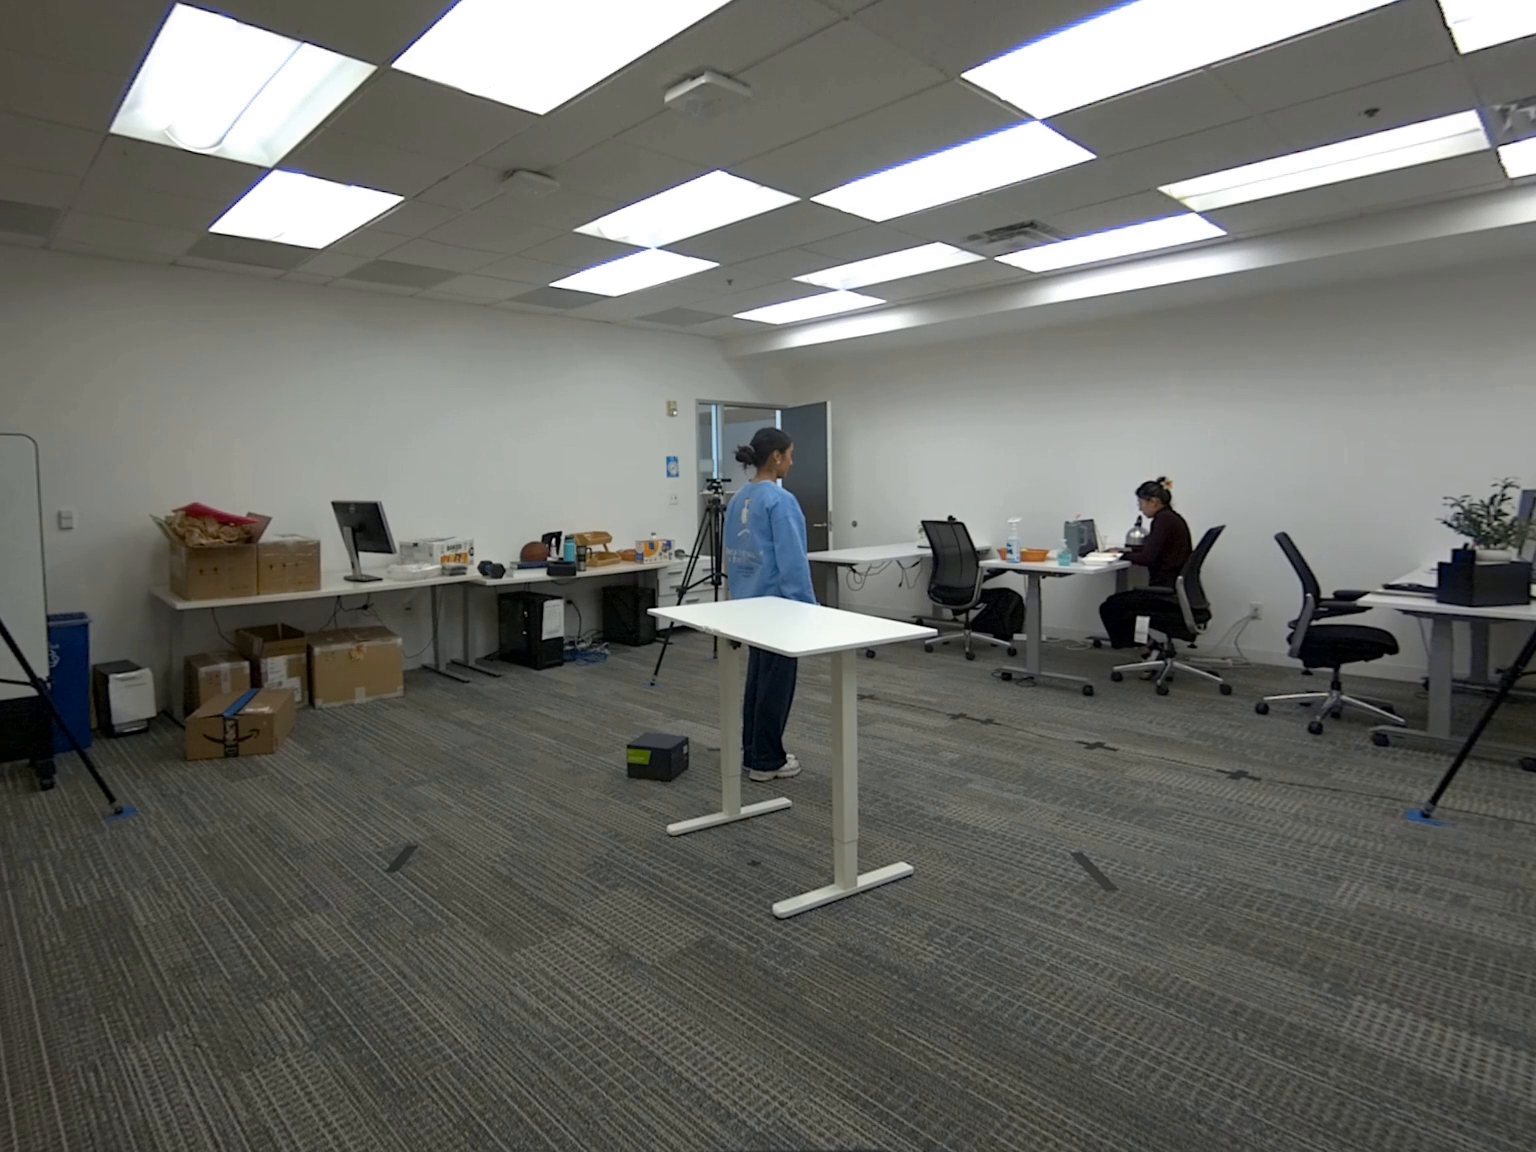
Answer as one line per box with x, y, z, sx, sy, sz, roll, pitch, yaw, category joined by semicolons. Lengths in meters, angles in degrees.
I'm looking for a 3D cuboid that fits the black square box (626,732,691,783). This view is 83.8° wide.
-0.527;0.862;4.096;0.232;0.155;0.214;1;5;20;black square box
